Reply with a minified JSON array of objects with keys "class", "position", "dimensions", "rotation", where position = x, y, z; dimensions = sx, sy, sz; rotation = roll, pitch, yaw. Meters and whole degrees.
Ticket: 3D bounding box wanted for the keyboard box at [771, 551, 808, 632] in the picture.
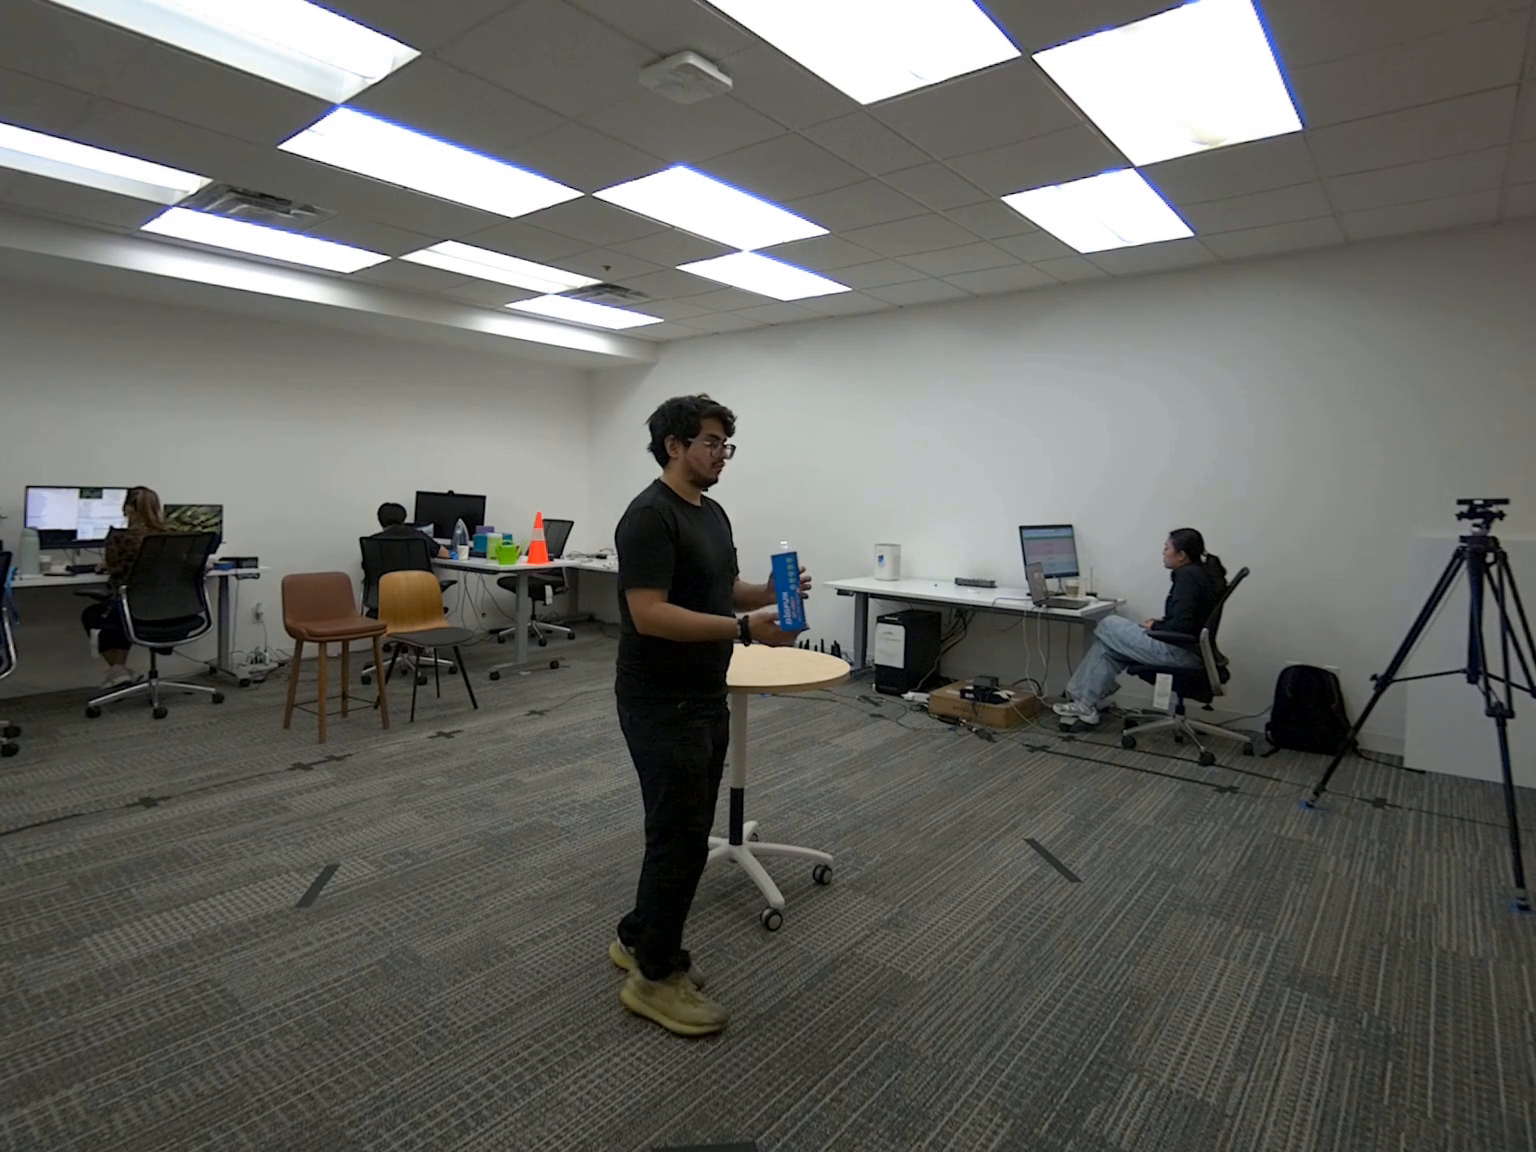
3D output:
[{"class":"keyboard box","position":[0.045,0.034,2.082],"dimensions":[0.059,0.176,0.435],"rotation":[-6,0,0]}]
